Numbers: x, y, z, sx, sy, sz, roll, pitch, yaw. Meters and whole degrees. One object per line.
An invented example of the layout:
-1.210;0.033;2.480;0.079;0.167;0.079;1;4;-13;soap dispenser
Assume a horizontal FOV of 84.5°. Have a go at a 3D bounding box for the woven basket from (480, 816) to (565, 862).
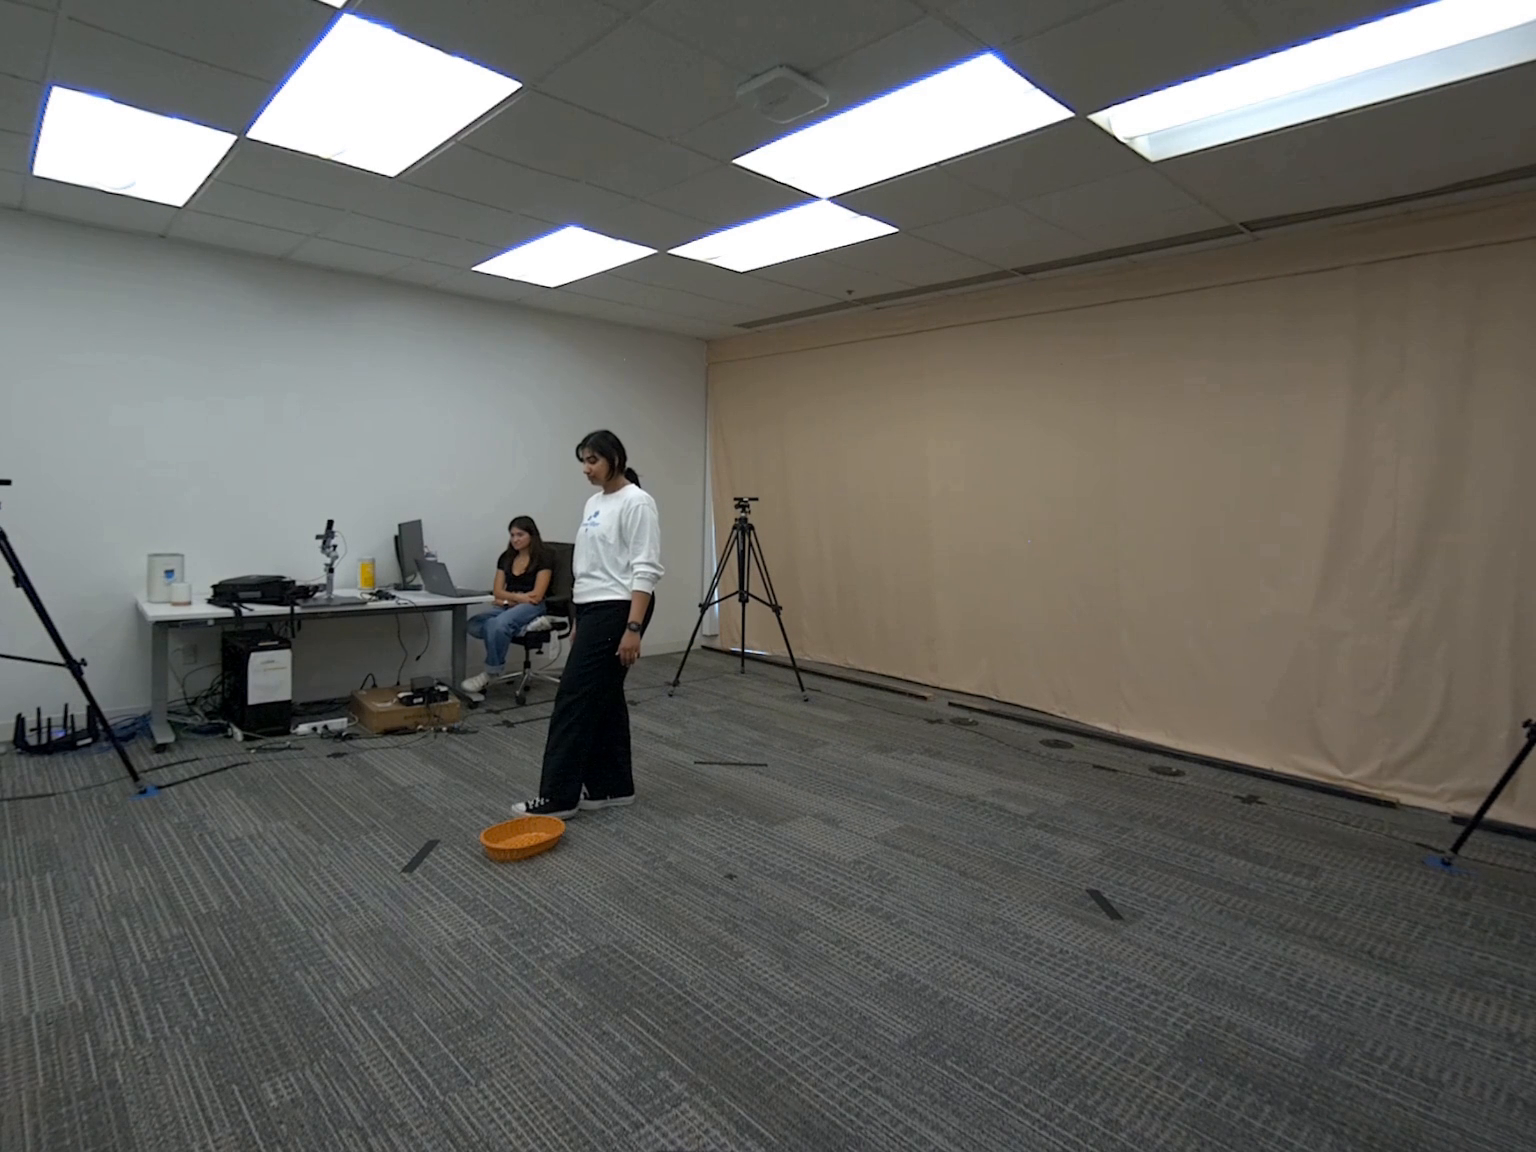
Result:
-0.974;1.034;3.305;0.259;0.073;0.342;7;8;44;woven basket
